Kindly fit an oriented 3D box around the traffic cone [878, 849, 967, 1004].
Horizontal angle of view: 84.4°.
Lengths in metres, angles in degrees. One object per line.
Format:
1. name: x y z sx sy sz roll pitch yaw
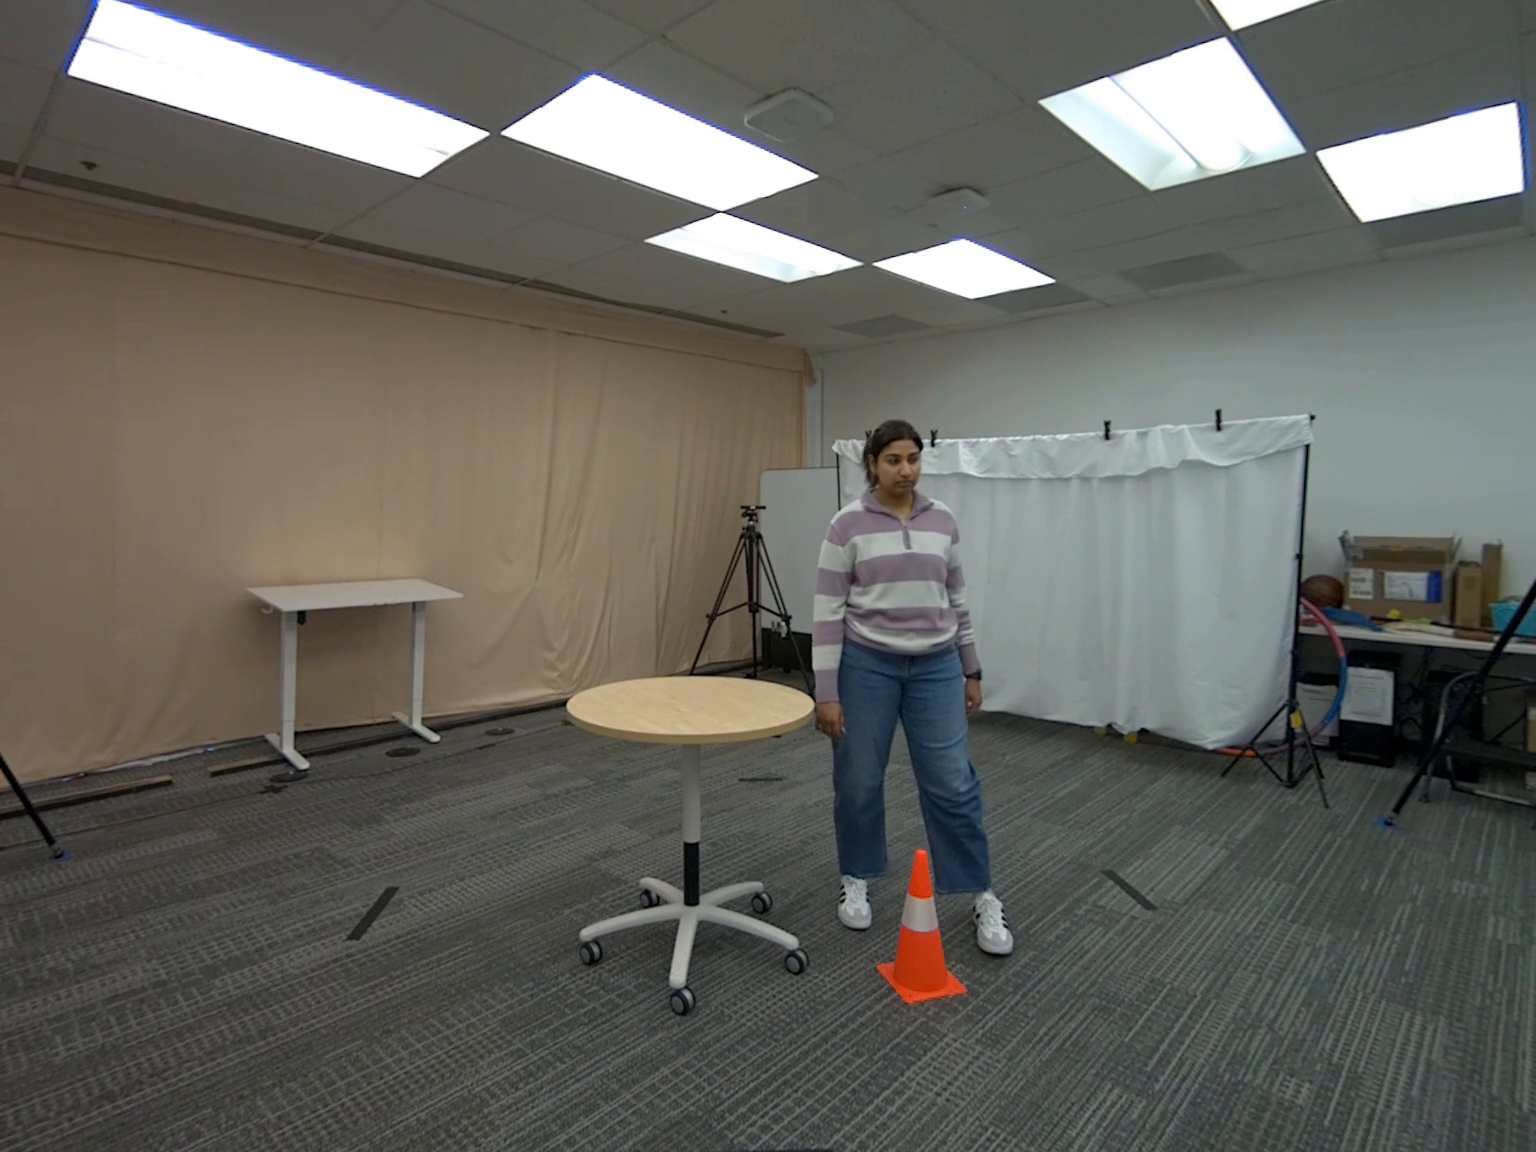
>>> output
1. traffic cone: 0.448 0.998 2.465 0.200 0.383 0.209 -3 4 -19
